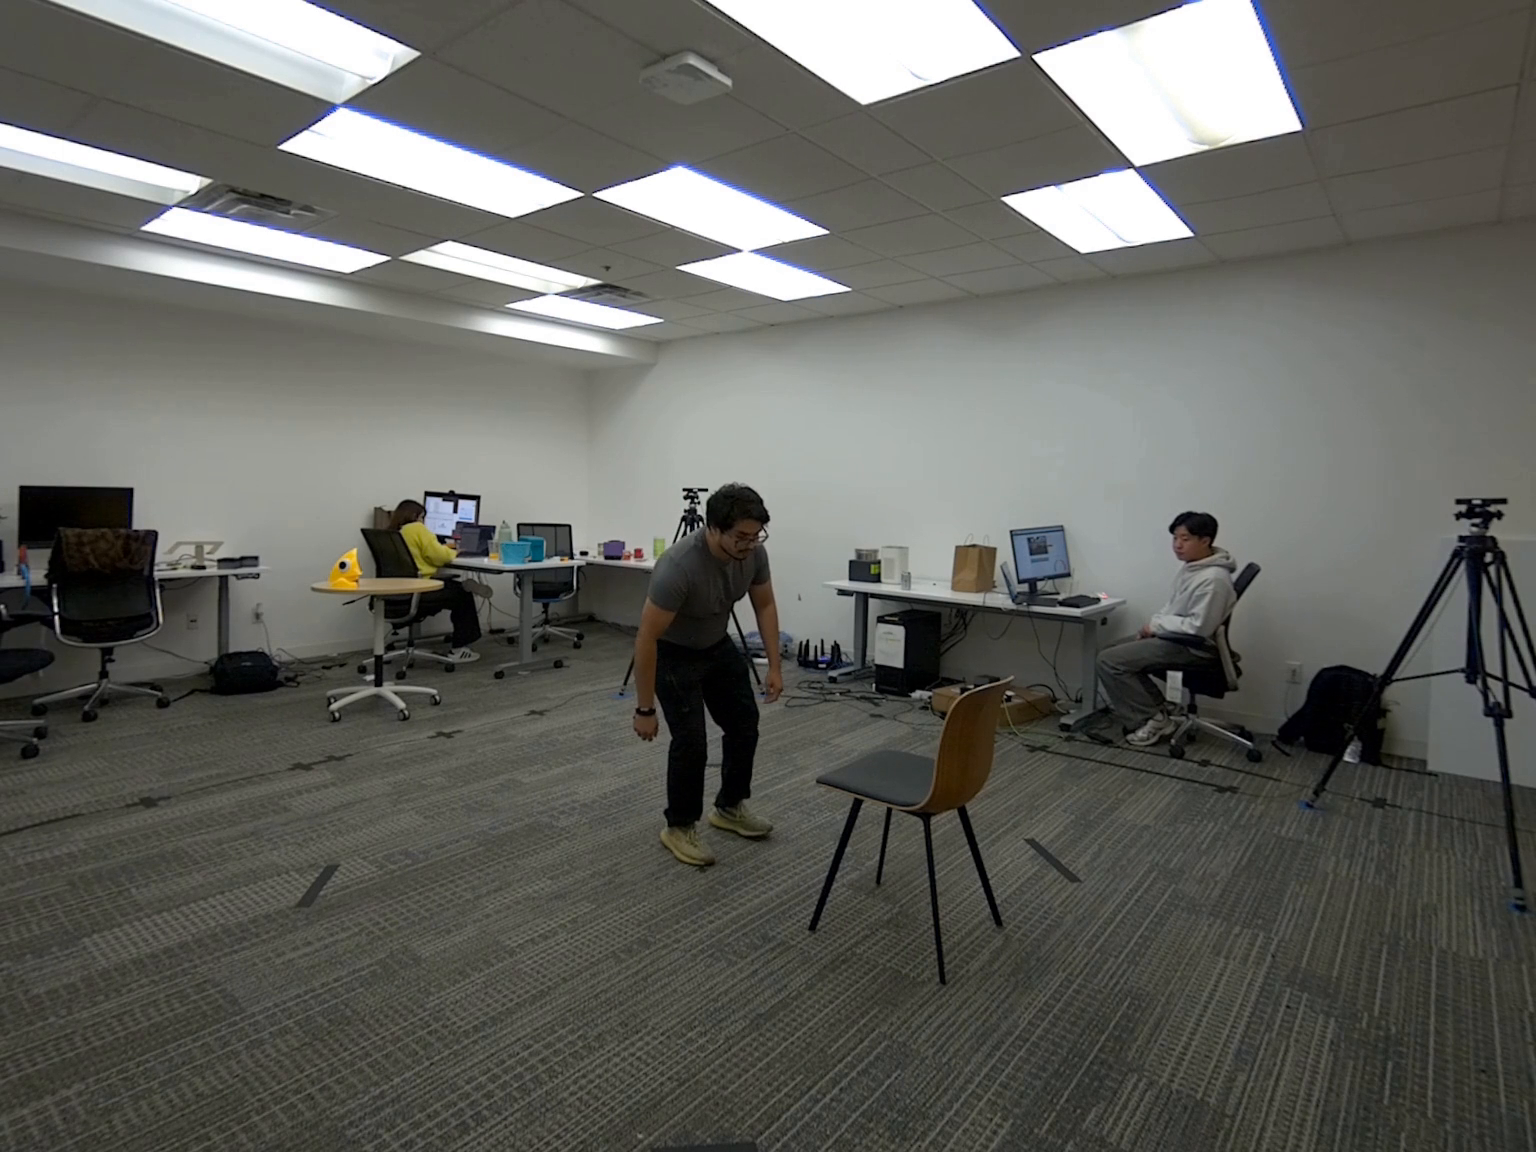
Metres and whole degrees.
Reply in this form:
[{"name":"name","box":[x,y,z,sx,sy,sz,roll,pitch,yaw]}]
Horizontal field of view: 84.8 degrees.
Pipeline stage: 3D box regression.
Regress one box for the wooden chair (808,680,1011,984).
[{"name":"wooden chair","box":[0.442,0.697,2.697,0.542,0.873,0.464,10,8,37]}]
